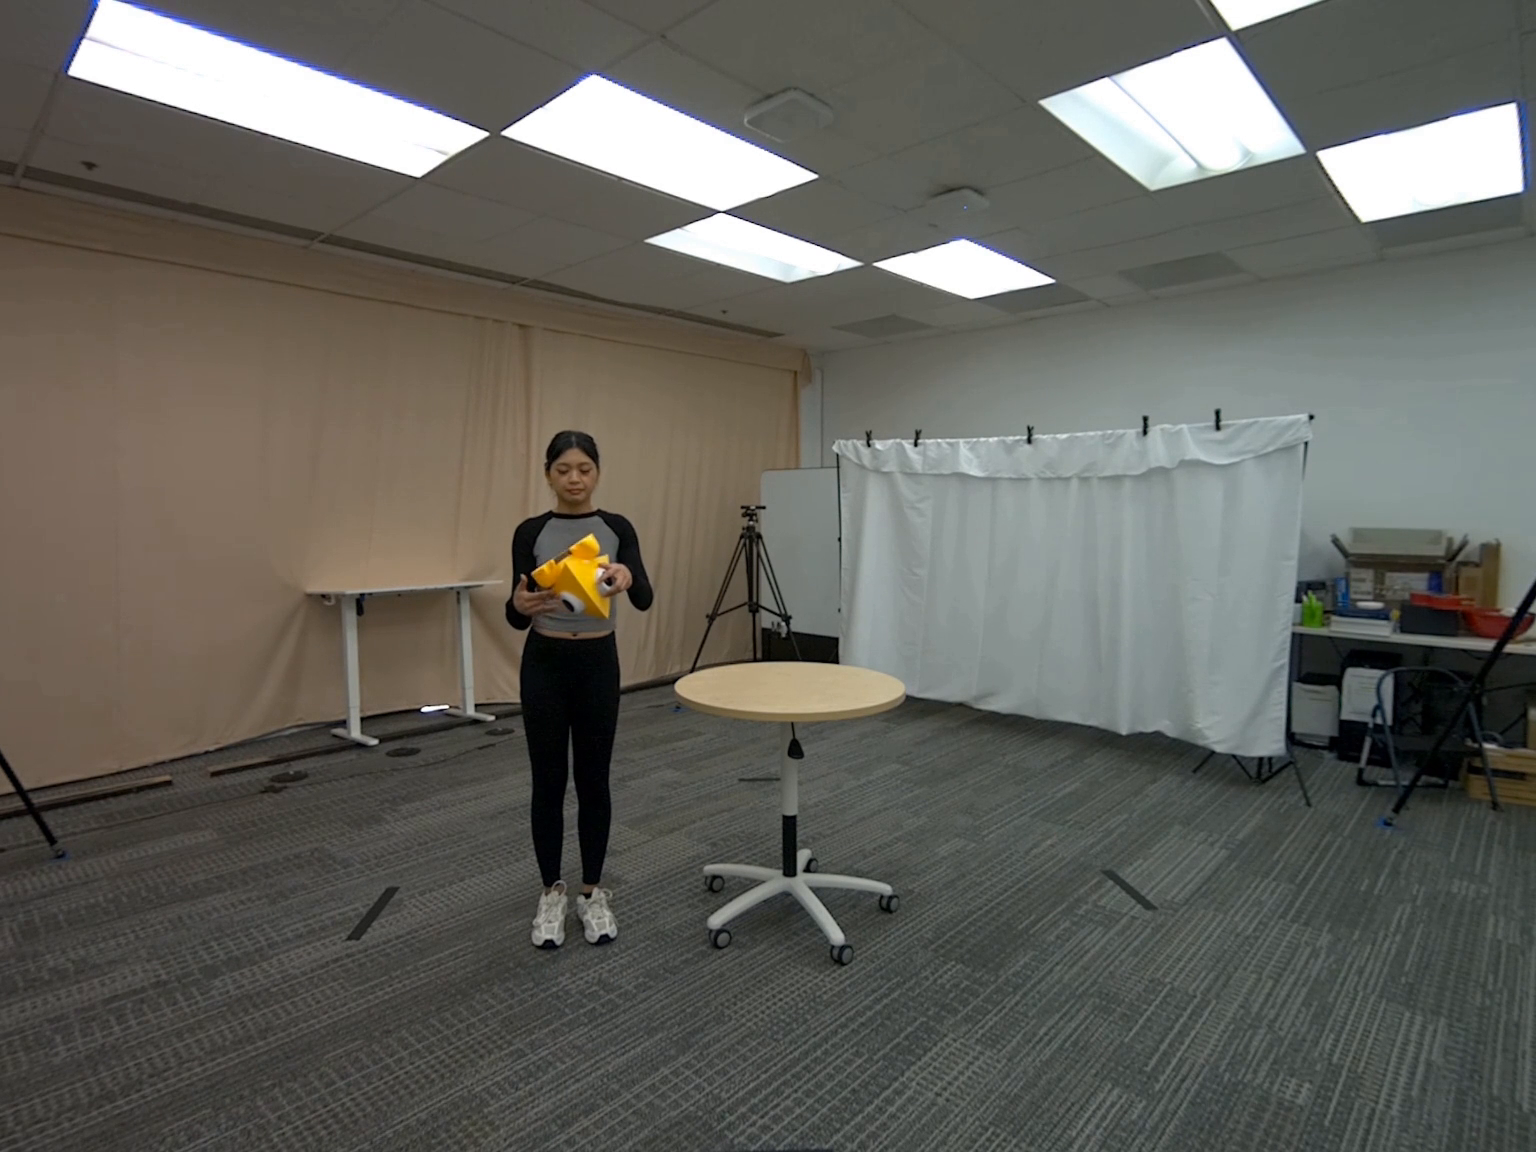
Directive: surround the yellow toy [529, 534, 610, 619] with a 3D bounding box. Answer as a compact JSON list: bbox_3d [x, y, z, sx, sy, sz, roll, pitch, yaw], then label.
[{"bbox_3d":[-0.521,0.035,2.357,0.204,0.229,0.195,-34,7,-6],"label":"yellow toy"}]
